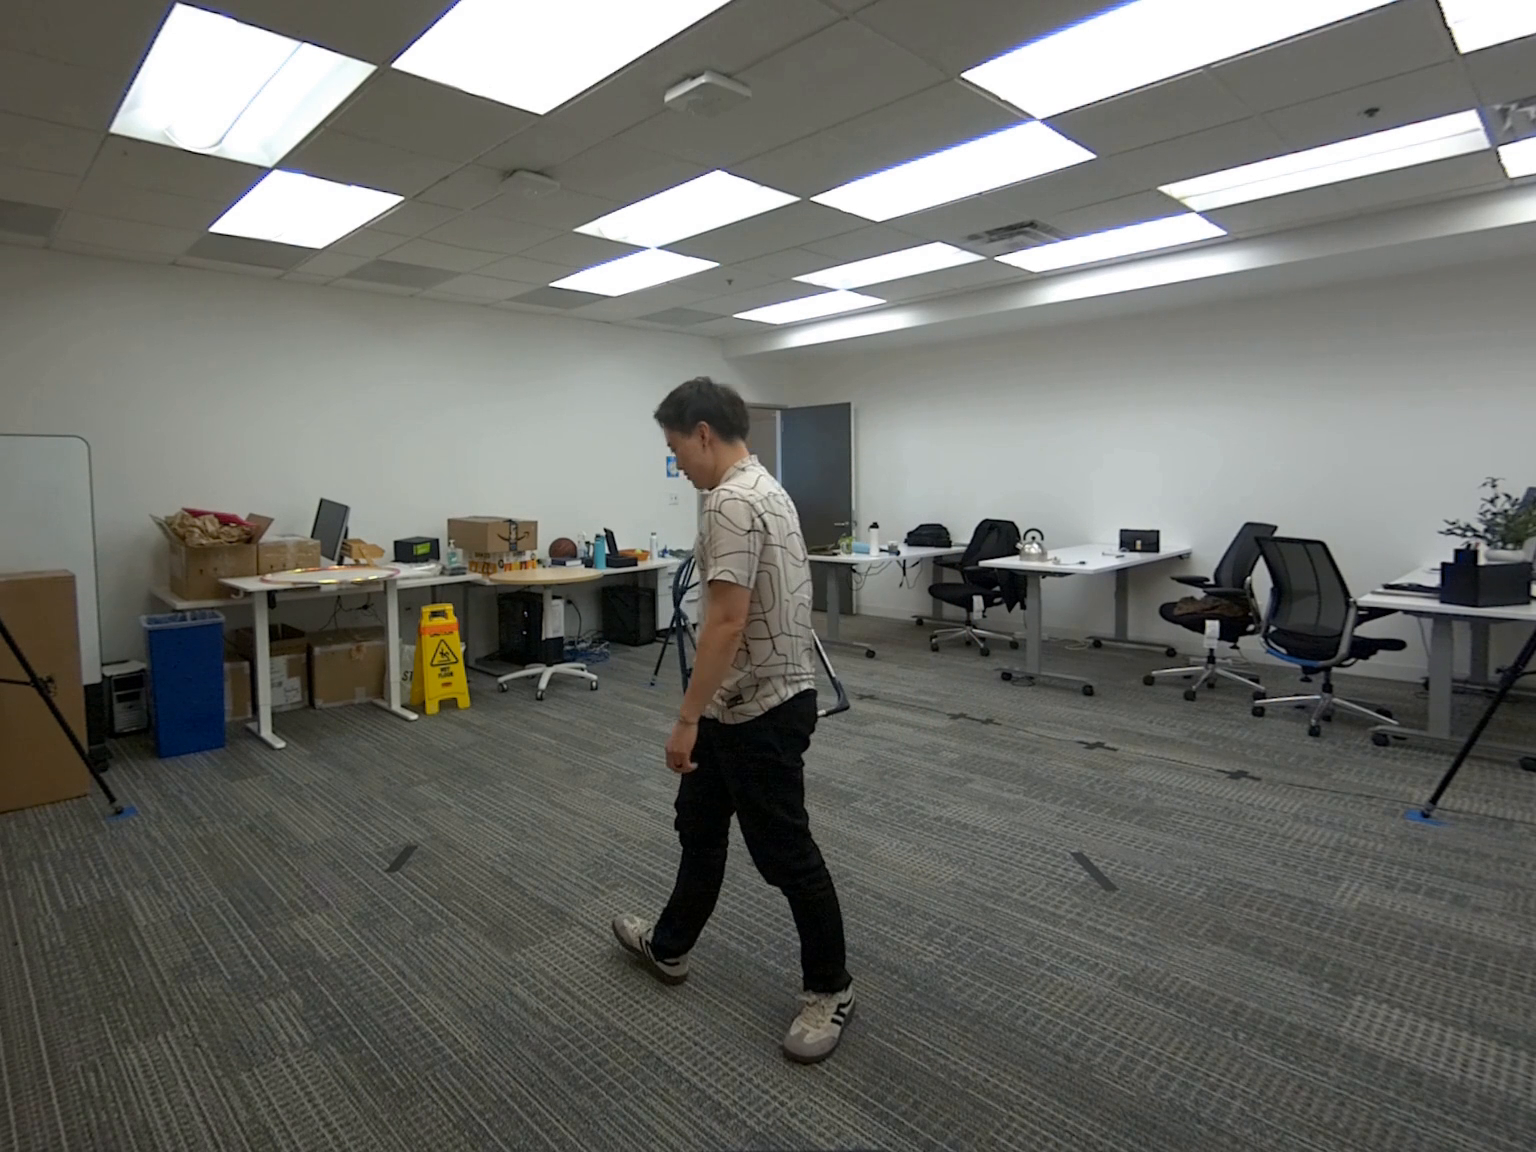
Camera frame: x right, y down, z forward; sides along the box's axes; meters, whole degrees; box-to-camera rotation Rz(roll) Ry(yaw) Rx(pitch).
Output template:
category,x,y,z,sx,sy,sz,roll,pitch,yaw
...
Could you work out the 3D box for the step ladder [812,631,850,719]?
category,x,y,z,sx,sy,sz,roll,pitch,yaw
step ladder,-0.088,0.200,2.694,0.422,0.612,0.353,-13,-9,-31
